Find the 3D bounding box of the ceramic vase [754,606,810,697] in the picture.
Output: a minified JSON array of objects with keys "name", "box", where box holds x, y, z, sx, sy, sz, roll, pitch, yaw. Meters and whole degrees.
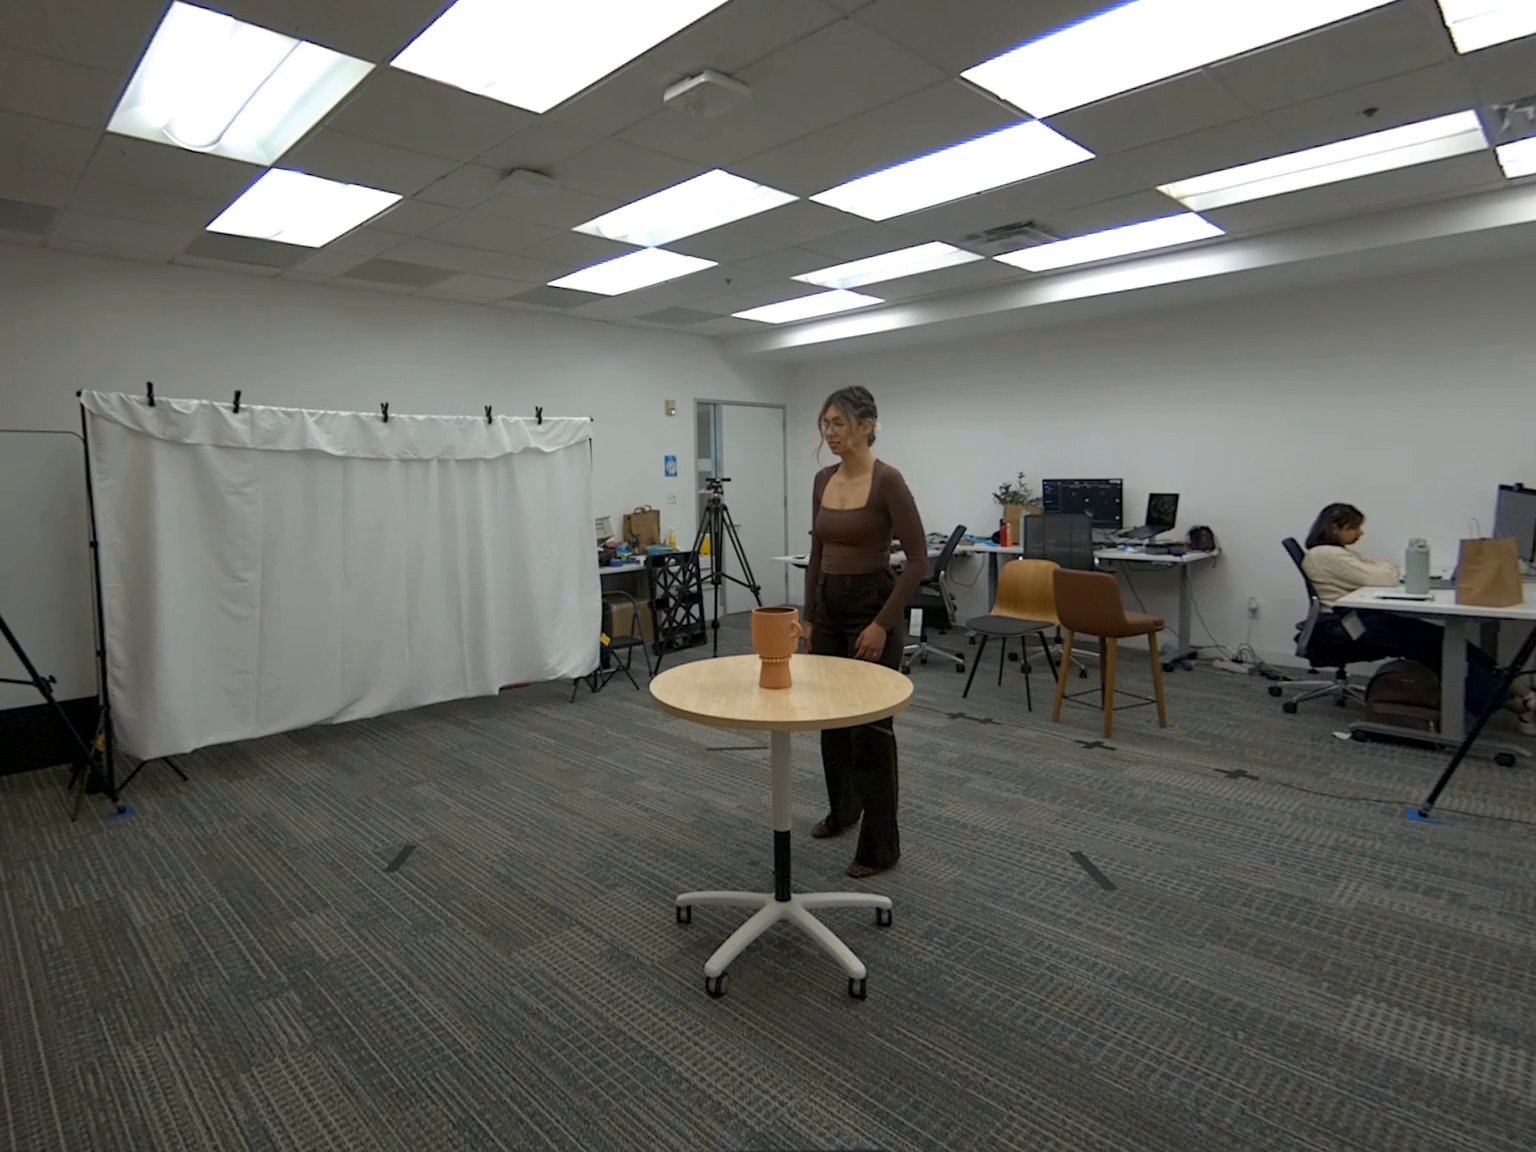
[{"name":"ceramic vase","box":[0.038,0.211,2.462,0.134,0.218,0.161,-1,6,-6]}]
